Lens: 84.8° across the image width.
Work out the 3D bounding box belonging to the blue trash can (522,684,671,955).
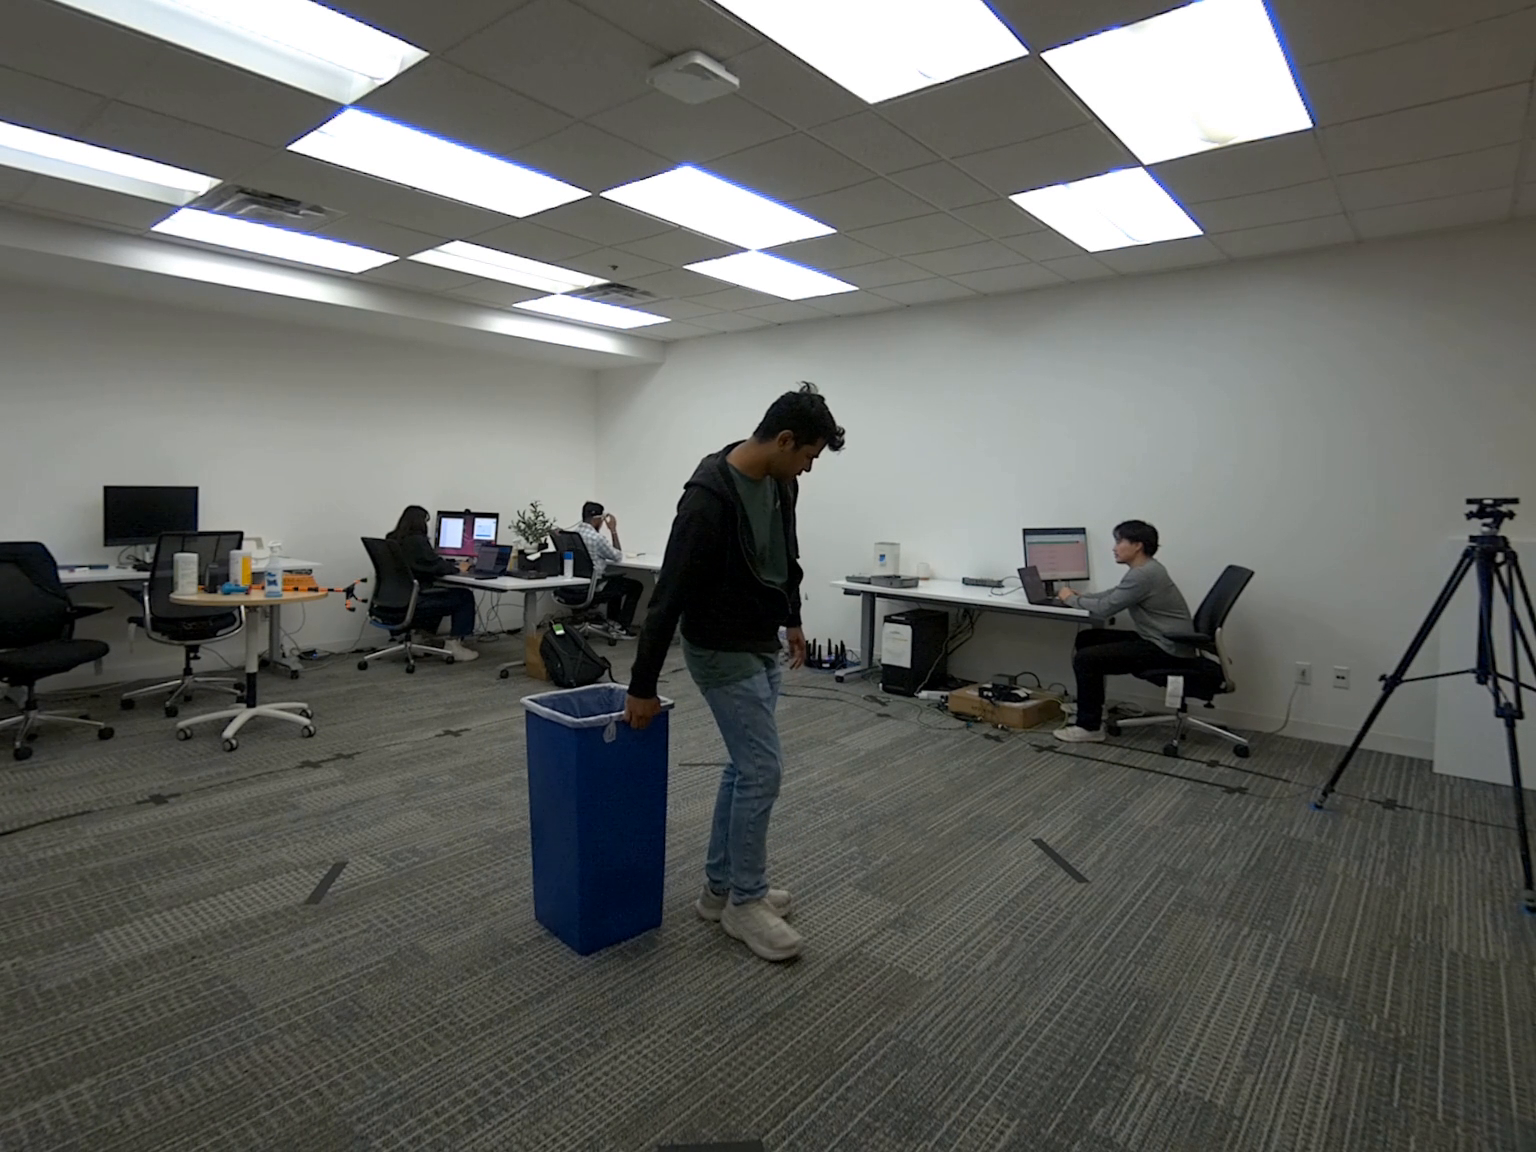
[{"bbox_3d":[-0.546,0.743,2.702,0.363,0.711,0.391,-3,5,-42],"label":"blue trash can"}]
